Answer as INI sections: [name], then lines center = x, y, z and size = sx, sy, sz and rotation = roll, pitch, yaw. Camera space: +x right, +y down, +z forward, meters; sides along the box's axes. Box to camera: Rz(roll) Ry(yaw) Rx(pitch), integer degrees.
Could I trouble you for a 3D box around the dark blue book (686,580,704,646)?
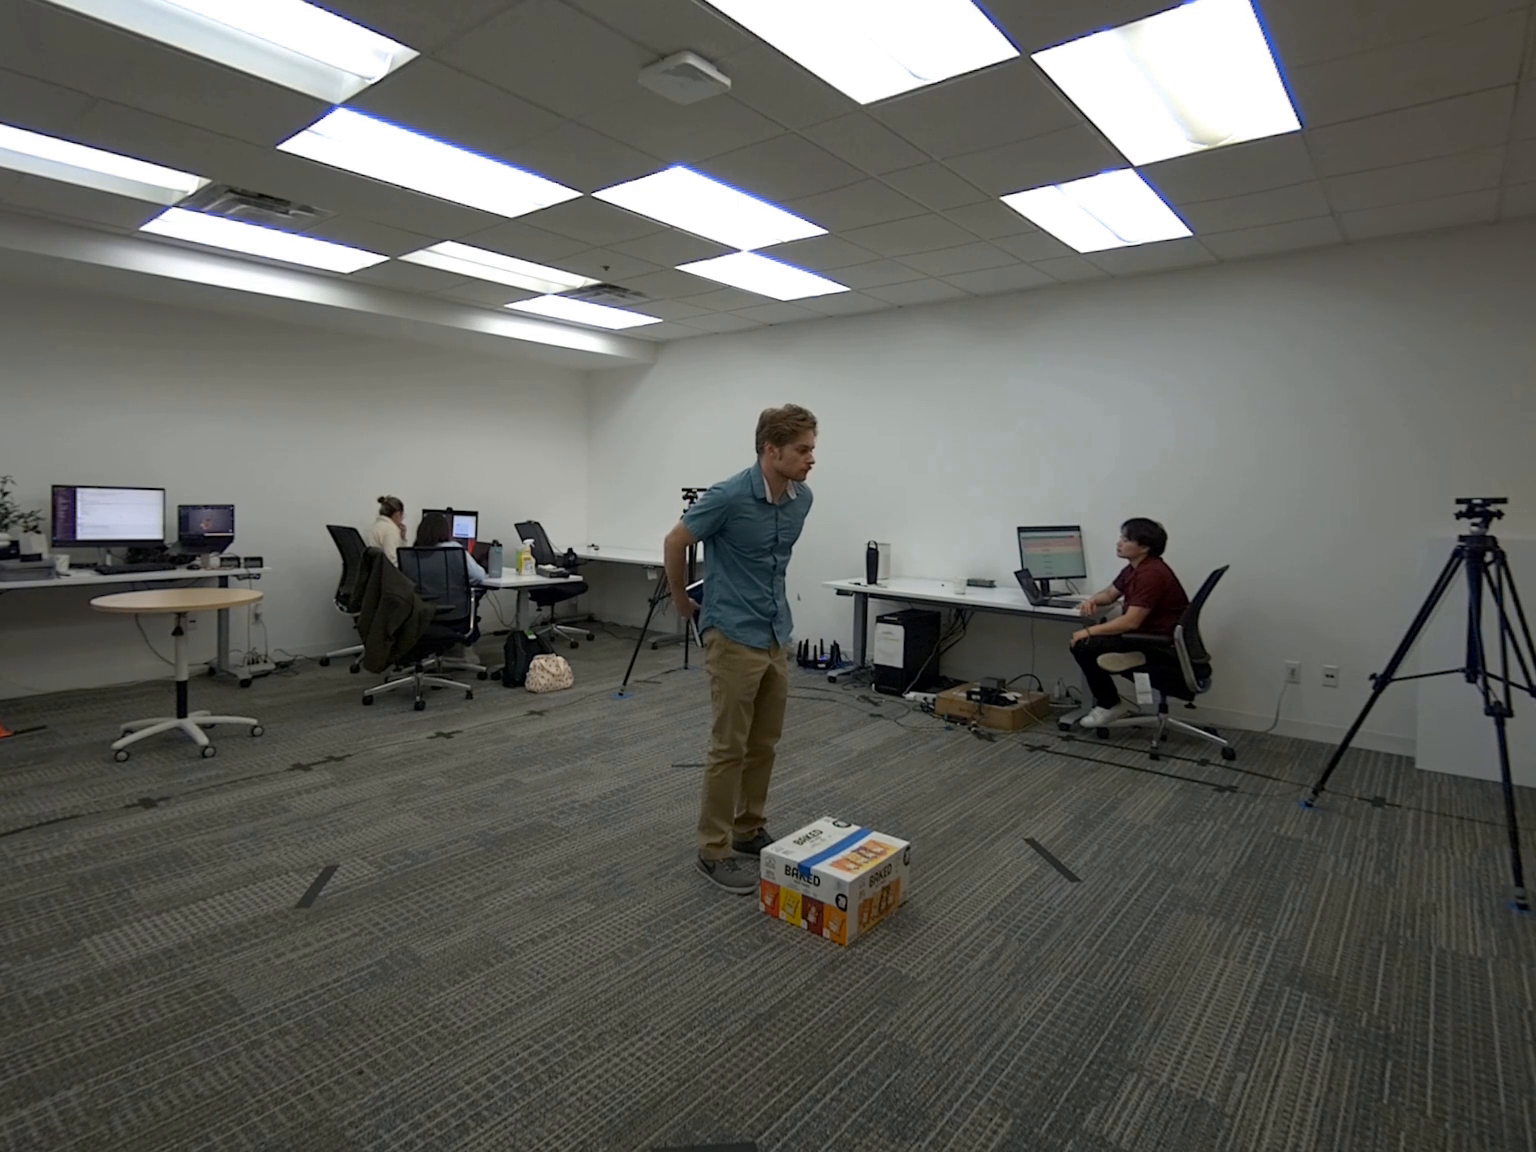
[dark blue book]
center = -0.222, 0.132, 3.367
size = 0.161, 0.241, 0.047
rotation = -25, 18, -33
